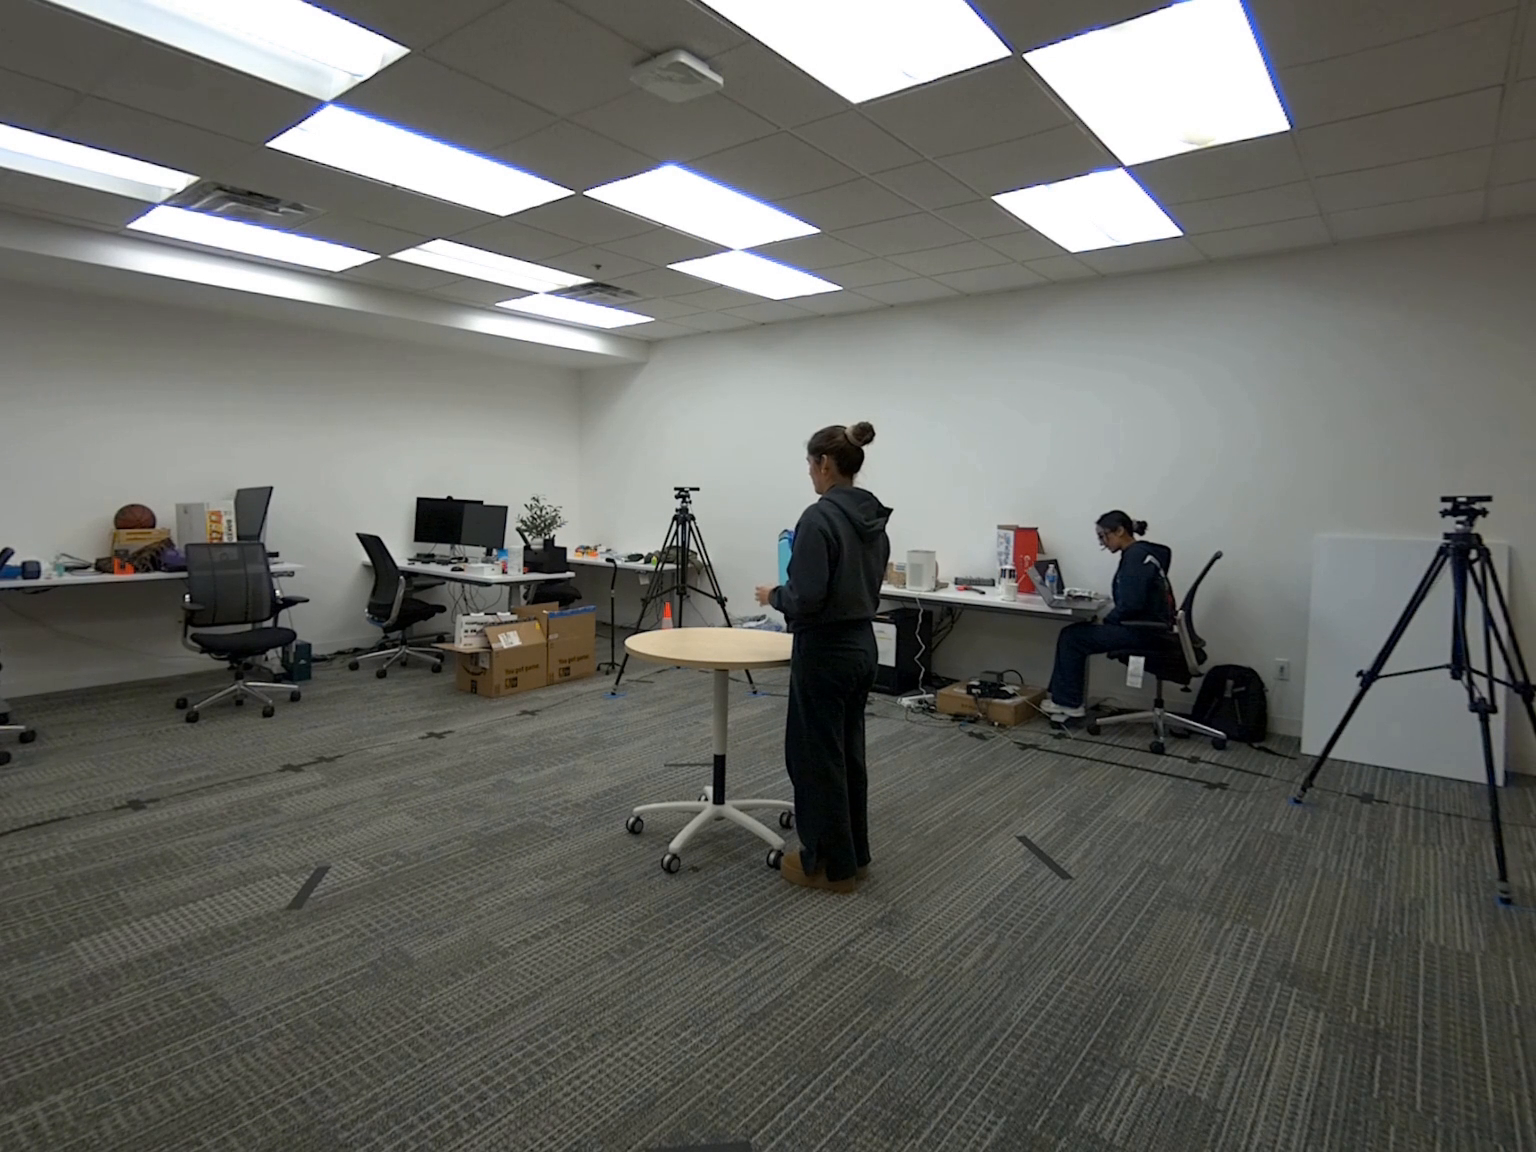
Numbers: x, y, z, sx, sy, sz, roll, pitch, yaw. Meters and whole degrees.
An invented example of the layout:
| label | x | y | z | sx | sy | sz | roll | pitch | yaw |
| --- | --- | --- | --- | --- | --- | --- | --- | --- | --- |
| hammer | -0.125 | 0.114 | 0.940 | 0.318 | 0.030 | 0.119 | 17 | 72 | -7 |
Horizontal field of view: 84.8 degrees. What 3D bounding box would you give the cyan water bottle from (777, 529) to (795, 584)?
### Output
| label | x | y | z | sx | sy | sz | roll | pitch | yaw |
| --- | --- | --- | --- | --- | --- | --- | --- | --- | --- |
| cyan water bottle | 0.082 | -0.076 | 3.342 | 0.092 | 0.289 | 0.090 | 0 | -23 | -2 |
